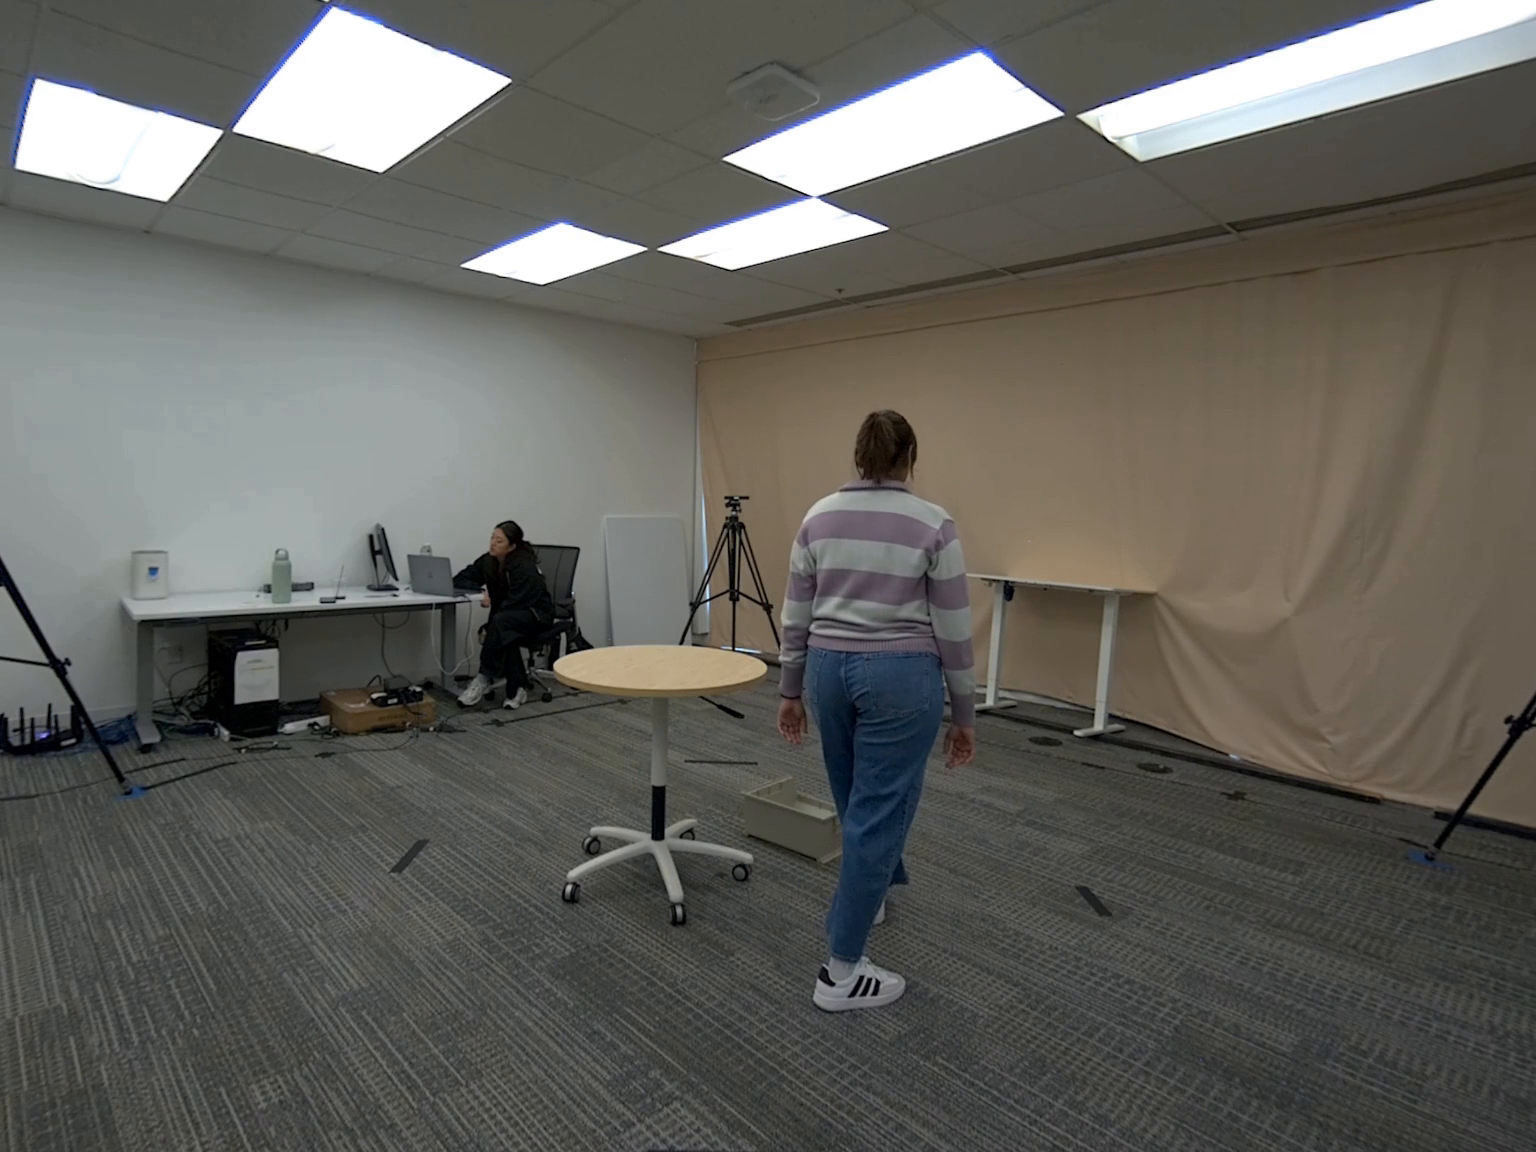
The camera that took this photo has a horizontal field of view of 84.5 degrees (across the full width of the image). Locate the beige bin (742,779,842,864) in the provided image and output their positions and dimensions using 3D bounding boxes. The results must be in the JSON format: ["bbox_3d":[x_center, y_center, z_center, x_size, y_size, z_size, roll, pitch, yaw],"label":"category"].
[{"bbox_3d":[0.160,0.990,3.481,0.433,0.188,0.369,5,7,40],"label":"beige bin"}]
